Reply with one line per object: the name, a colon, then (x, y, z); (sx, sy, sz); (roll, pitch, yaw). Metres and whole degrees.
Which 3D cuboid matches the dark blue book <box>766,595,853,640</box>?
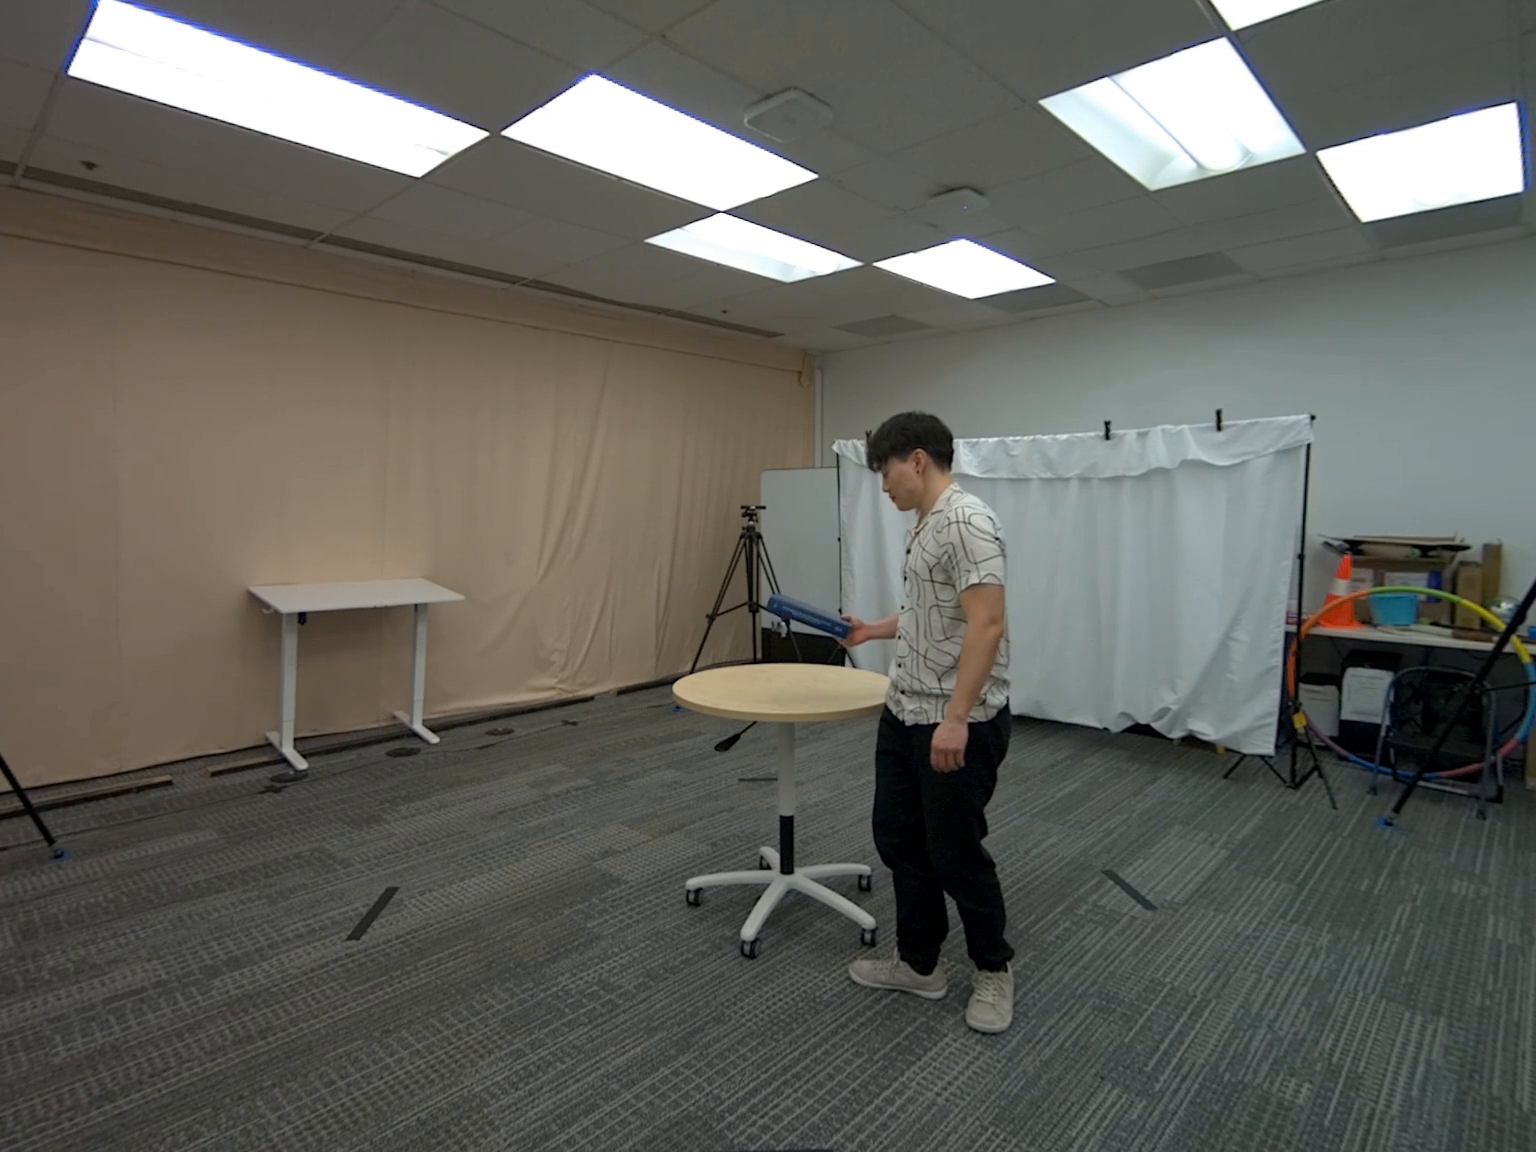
dark blue book: (0.128, 0.115, 2.469); (0.249, 0.045, 0.161); (20, 5, 13)
